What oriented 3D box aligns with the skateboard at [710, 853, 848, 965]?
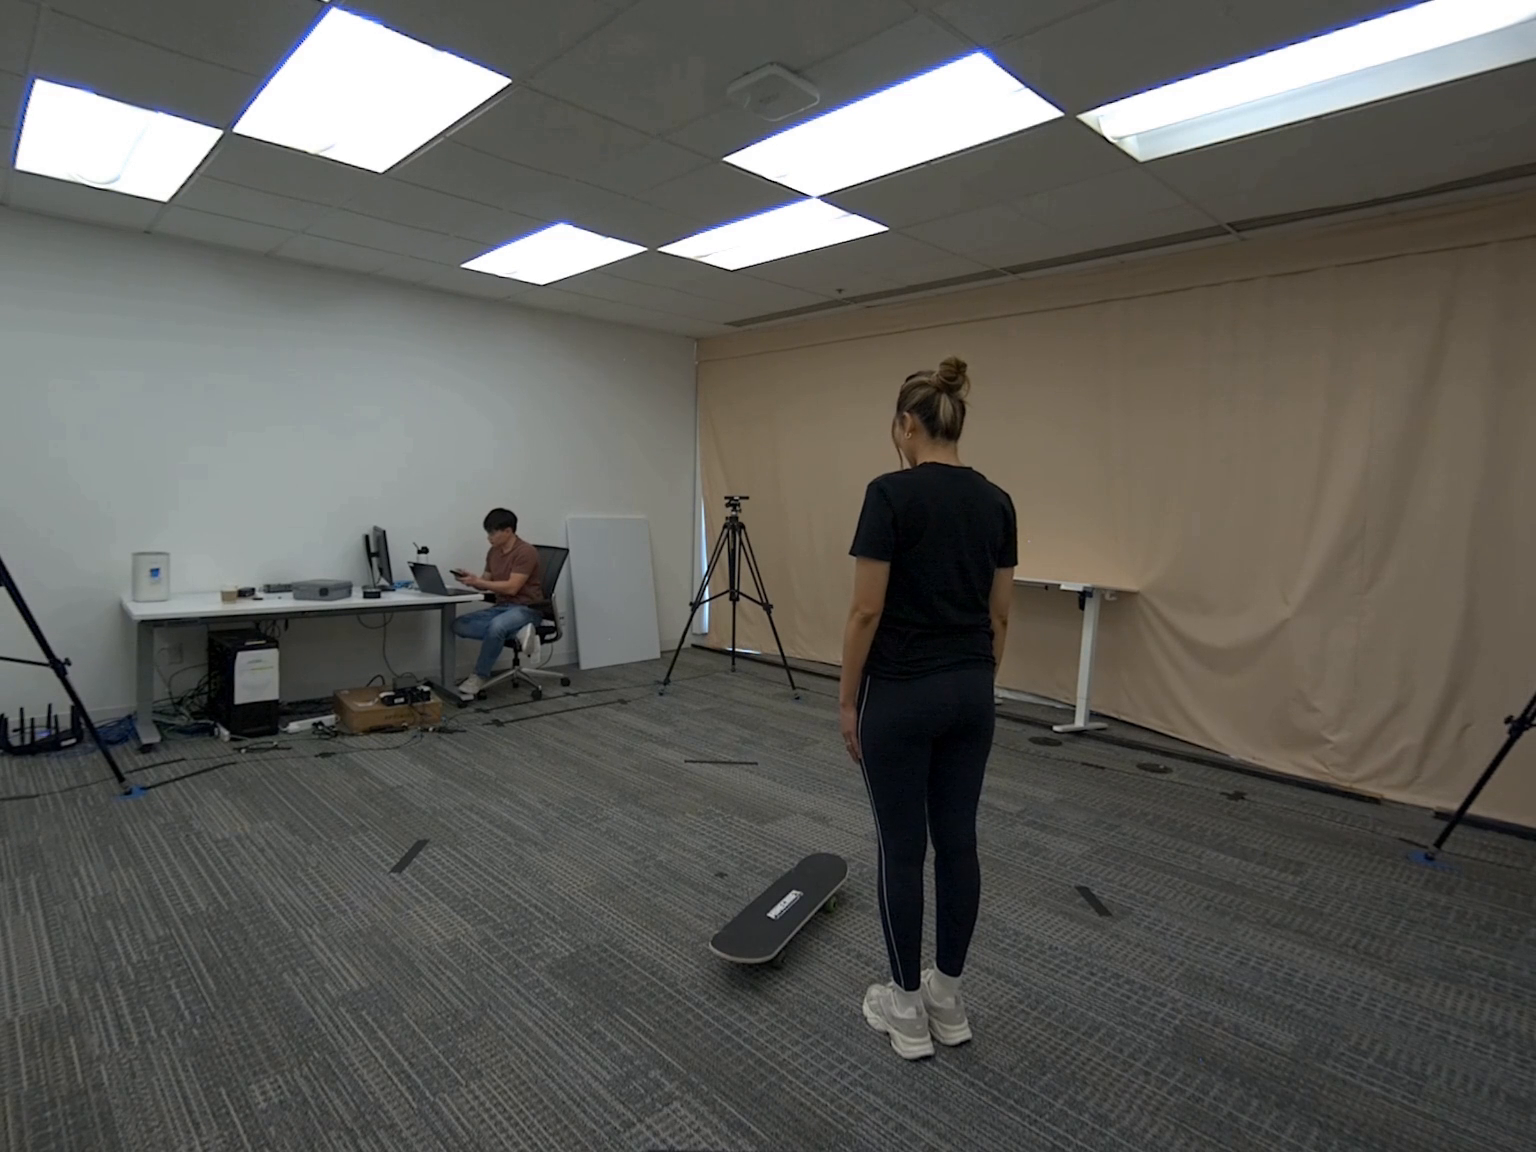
[{"bbox_3d":[0.052,1.087,2.704,0.197,0.110,0.772,5,6,26],"label":"skateboard"}]
